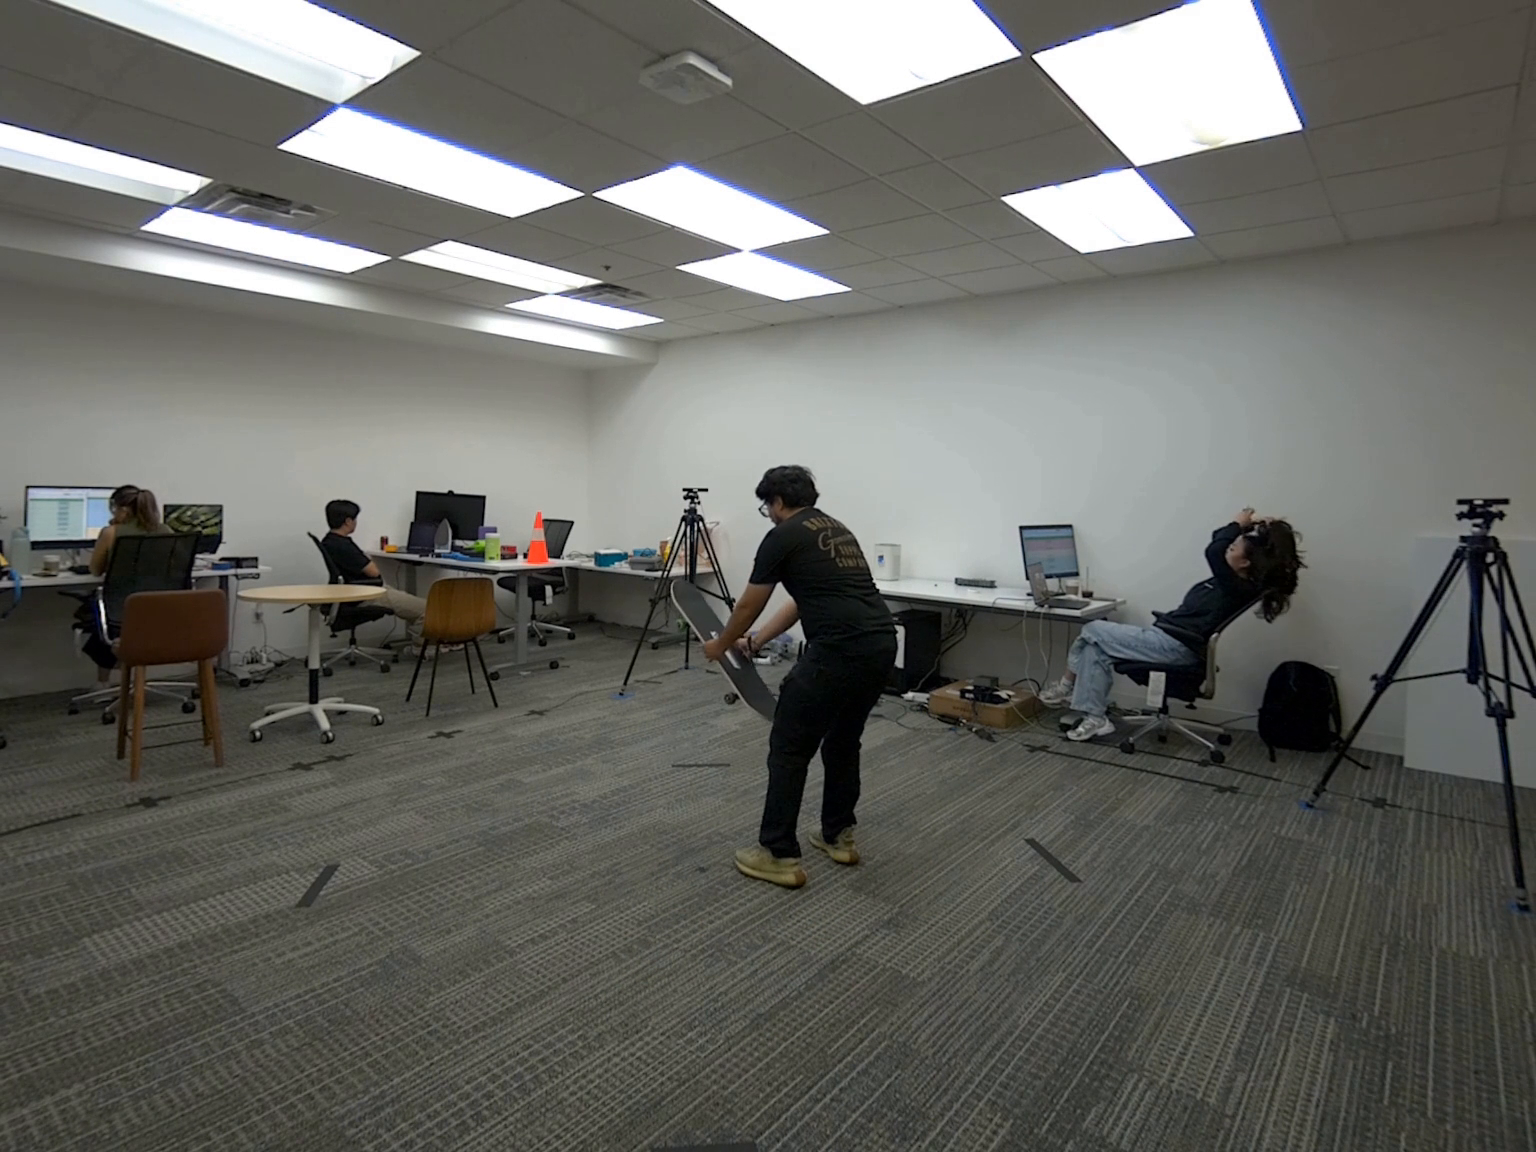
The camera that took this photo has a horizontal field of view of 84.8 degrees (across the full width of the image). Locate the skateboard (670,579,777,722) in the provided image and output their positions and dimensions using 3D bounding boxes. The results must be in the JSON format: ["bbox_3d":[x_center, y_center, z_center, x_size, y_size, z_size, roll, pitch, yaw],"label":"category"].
[{"bbox_3d":[-0.201,0.330,3.538,0.187,0.110,0.815,4,40,-49],"label":"skateboard"}]
